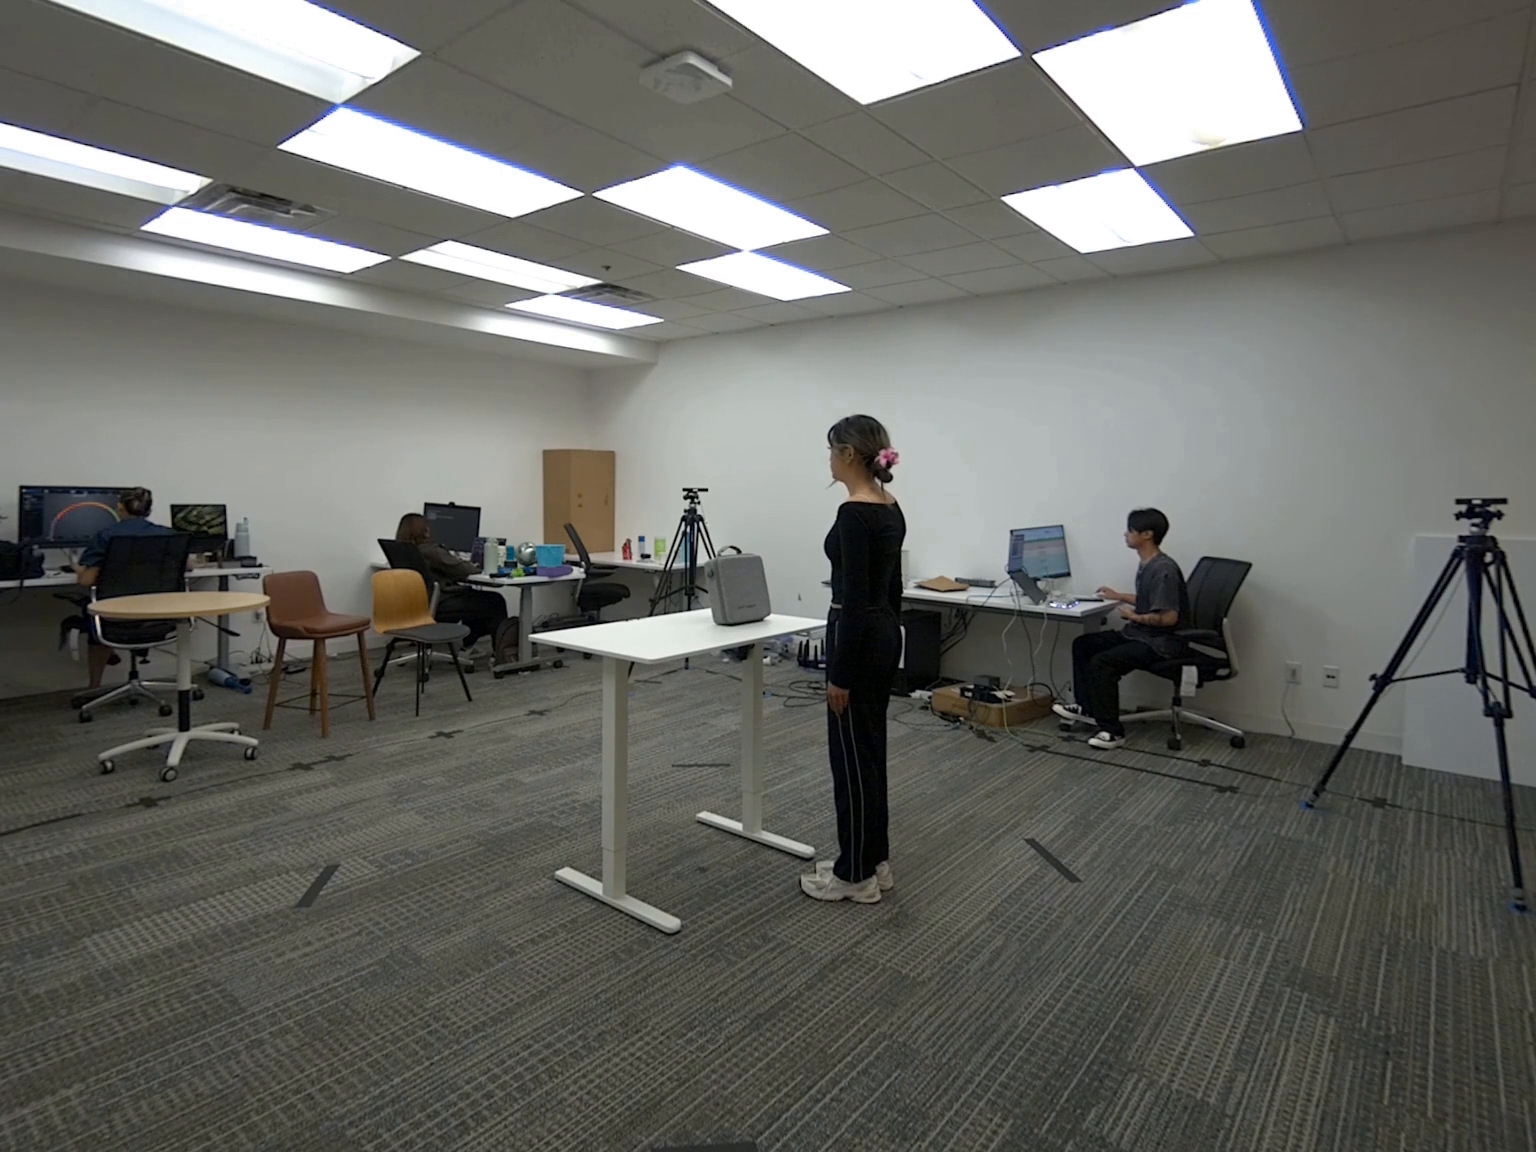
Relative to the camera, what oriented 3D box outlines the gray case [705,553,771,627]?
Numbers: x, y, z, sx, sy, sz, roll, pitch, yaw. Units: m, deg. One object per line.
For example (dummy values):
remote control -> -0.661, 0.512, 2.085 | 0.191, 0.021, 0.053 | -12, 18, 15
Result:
gray case -> -0.127, 0.043, 3.245 | 0.107, 0.262, 0.249 | -14, -7, 42
